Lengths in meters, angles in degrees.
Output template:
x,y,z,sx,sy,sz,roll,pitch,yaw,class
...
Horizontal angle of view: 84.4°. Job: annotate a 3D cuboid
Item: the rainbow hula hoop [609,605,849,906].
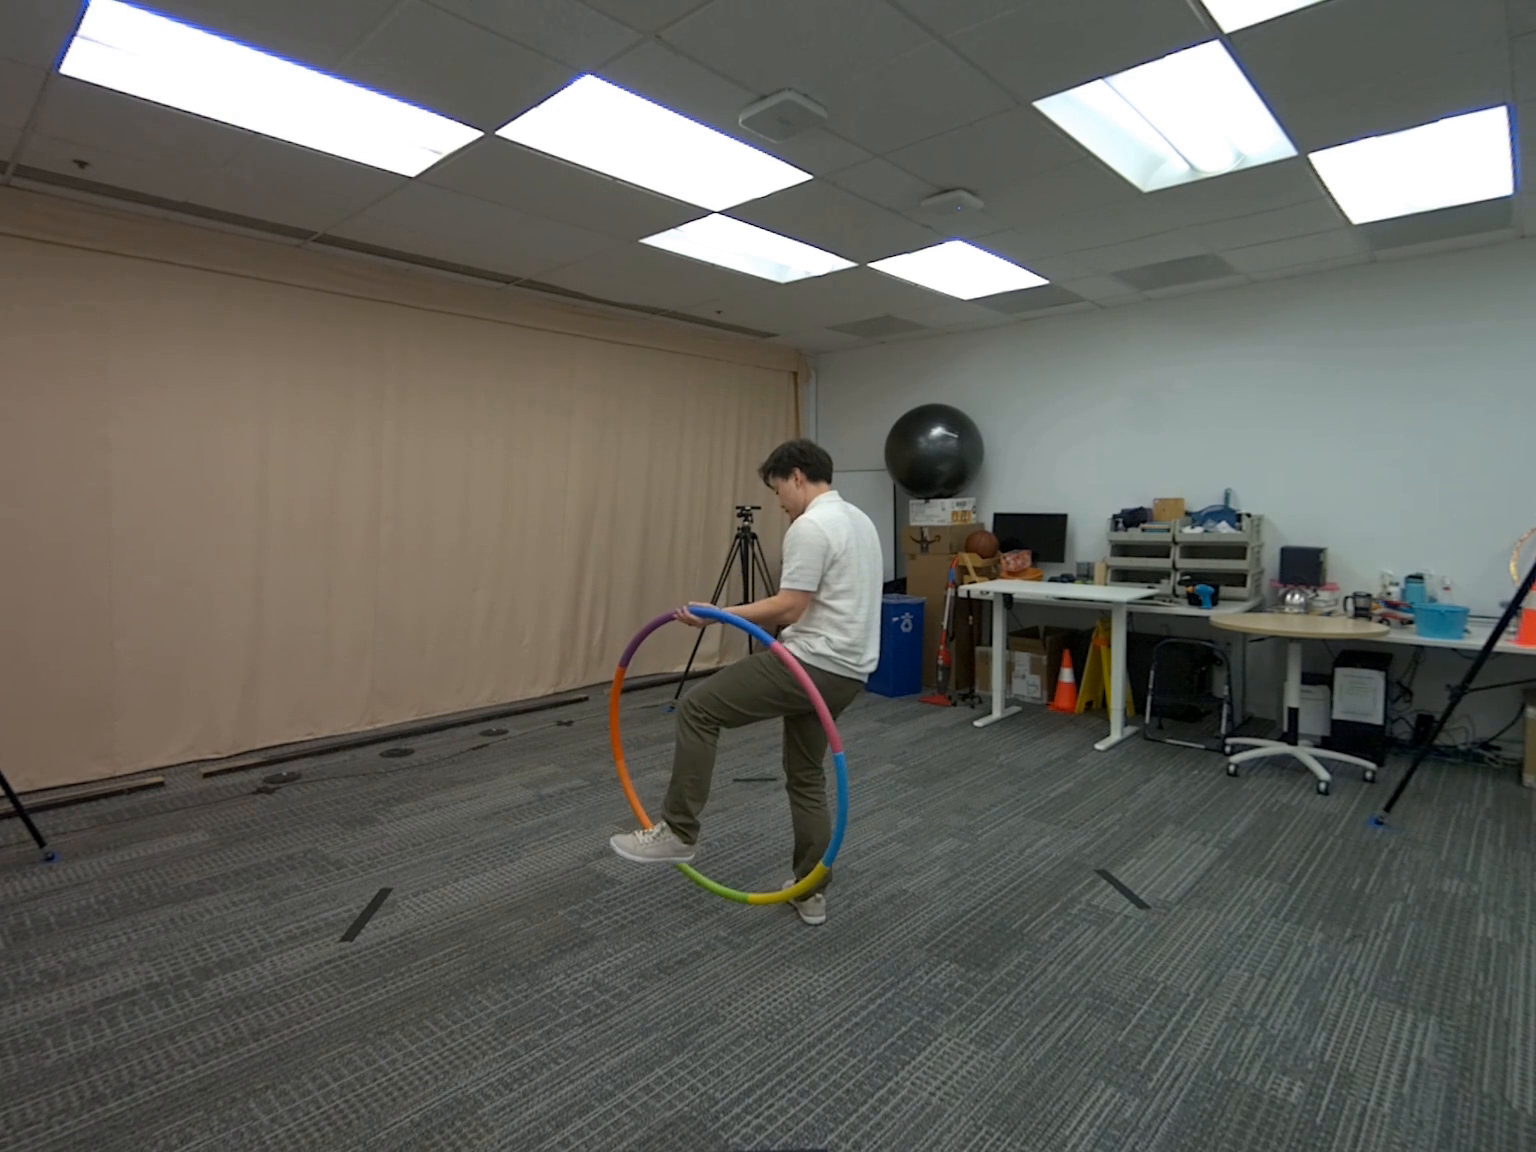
x,y,z,sx,sy,sz,roll,pitch,yaw,class
-0.169,0.589,2.750,1.010,0.973,0.034,3,10,37,rainbow hula hoop
